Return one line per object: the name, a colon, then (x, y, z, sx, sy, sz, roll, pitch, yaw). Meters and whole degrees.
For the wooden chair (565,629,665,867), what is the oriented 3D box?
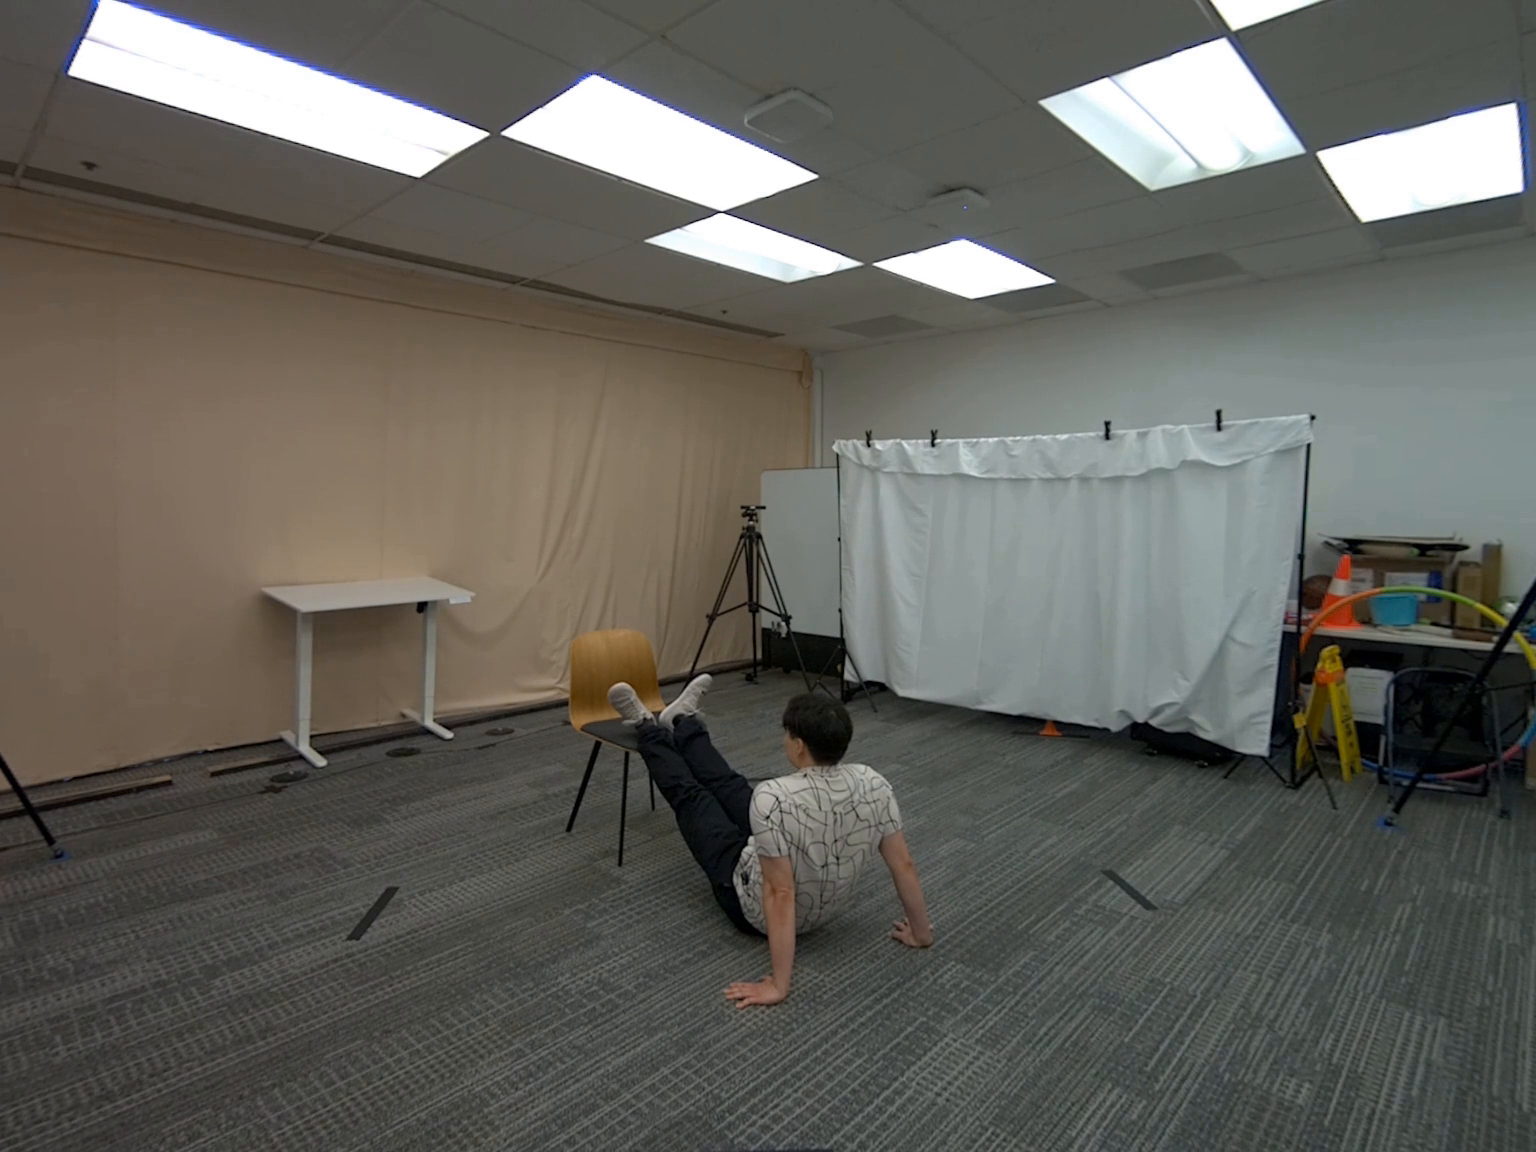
wooden chair: (-0.548, 0.673, 3.535, 0.464, 0.878, 0.539, -3, -1, -39)
